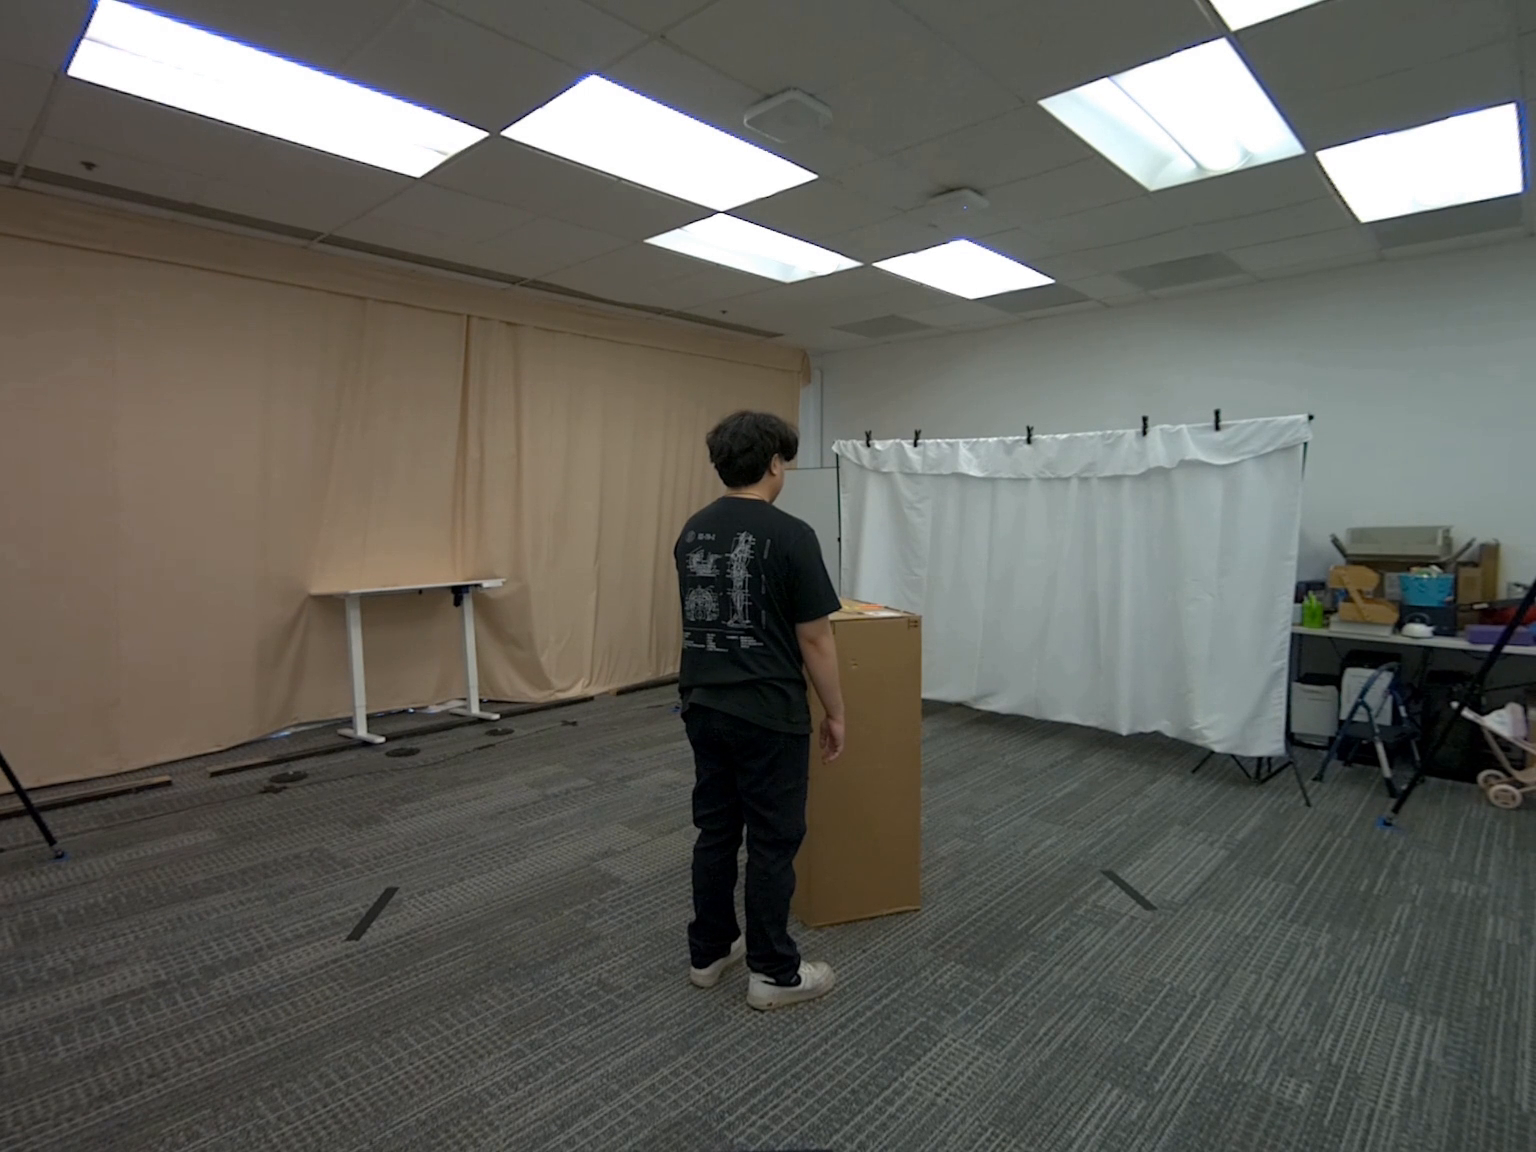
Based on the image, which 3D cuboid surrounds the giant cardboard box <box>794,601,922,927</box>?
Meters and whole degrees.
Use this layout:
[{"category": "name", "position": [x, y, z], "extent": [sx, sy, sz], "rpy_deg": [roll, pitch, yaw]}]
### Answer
[{"category": "giant cardboard box", "position": [0.229, 0.623, 3.079], "extent": [0.438, 1.025, 0.597], "rpy_deg": [-1, 3, -21]}]
